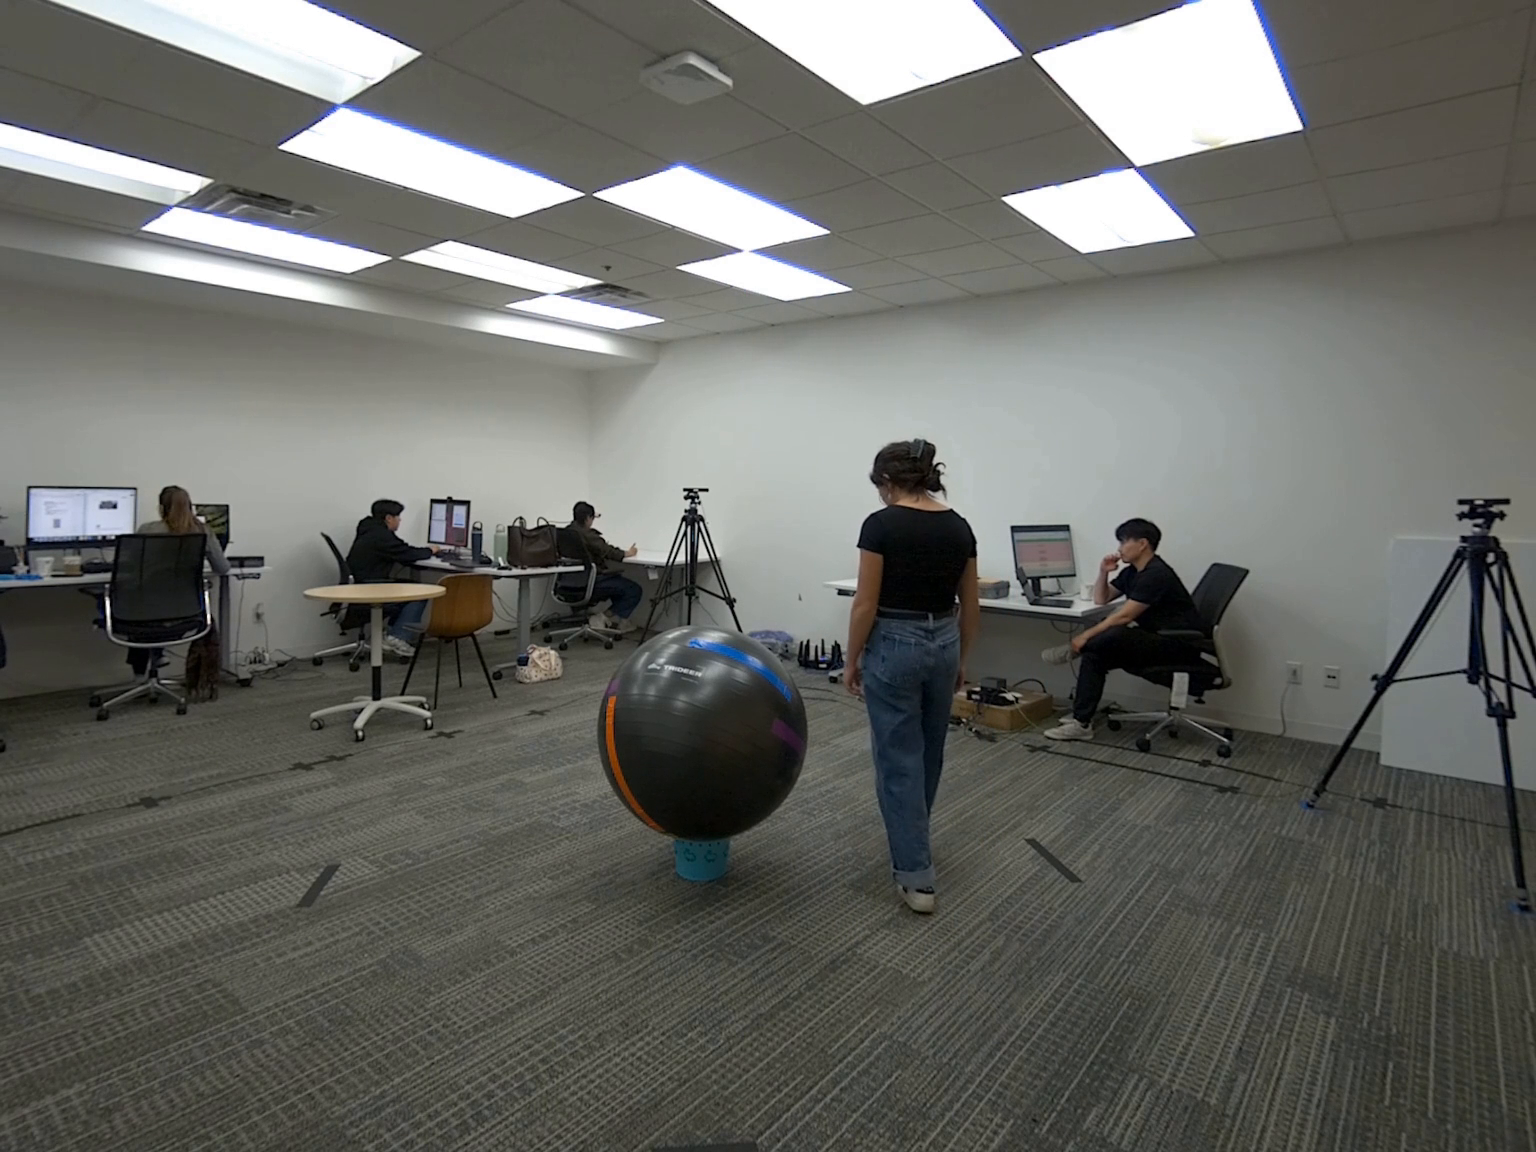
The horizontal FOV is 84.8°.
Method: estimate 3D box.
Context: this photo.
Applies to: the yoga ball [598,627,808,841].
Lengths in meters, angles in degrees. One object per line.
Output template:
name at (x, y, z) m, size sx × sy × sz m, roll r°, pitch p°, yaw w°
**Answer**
yoga ball at (-0.254, 0.563, 3.086) m, size 0.757 × 0.756 × 0.762 m, roll 1°, pitch 4°, yaw -2°
